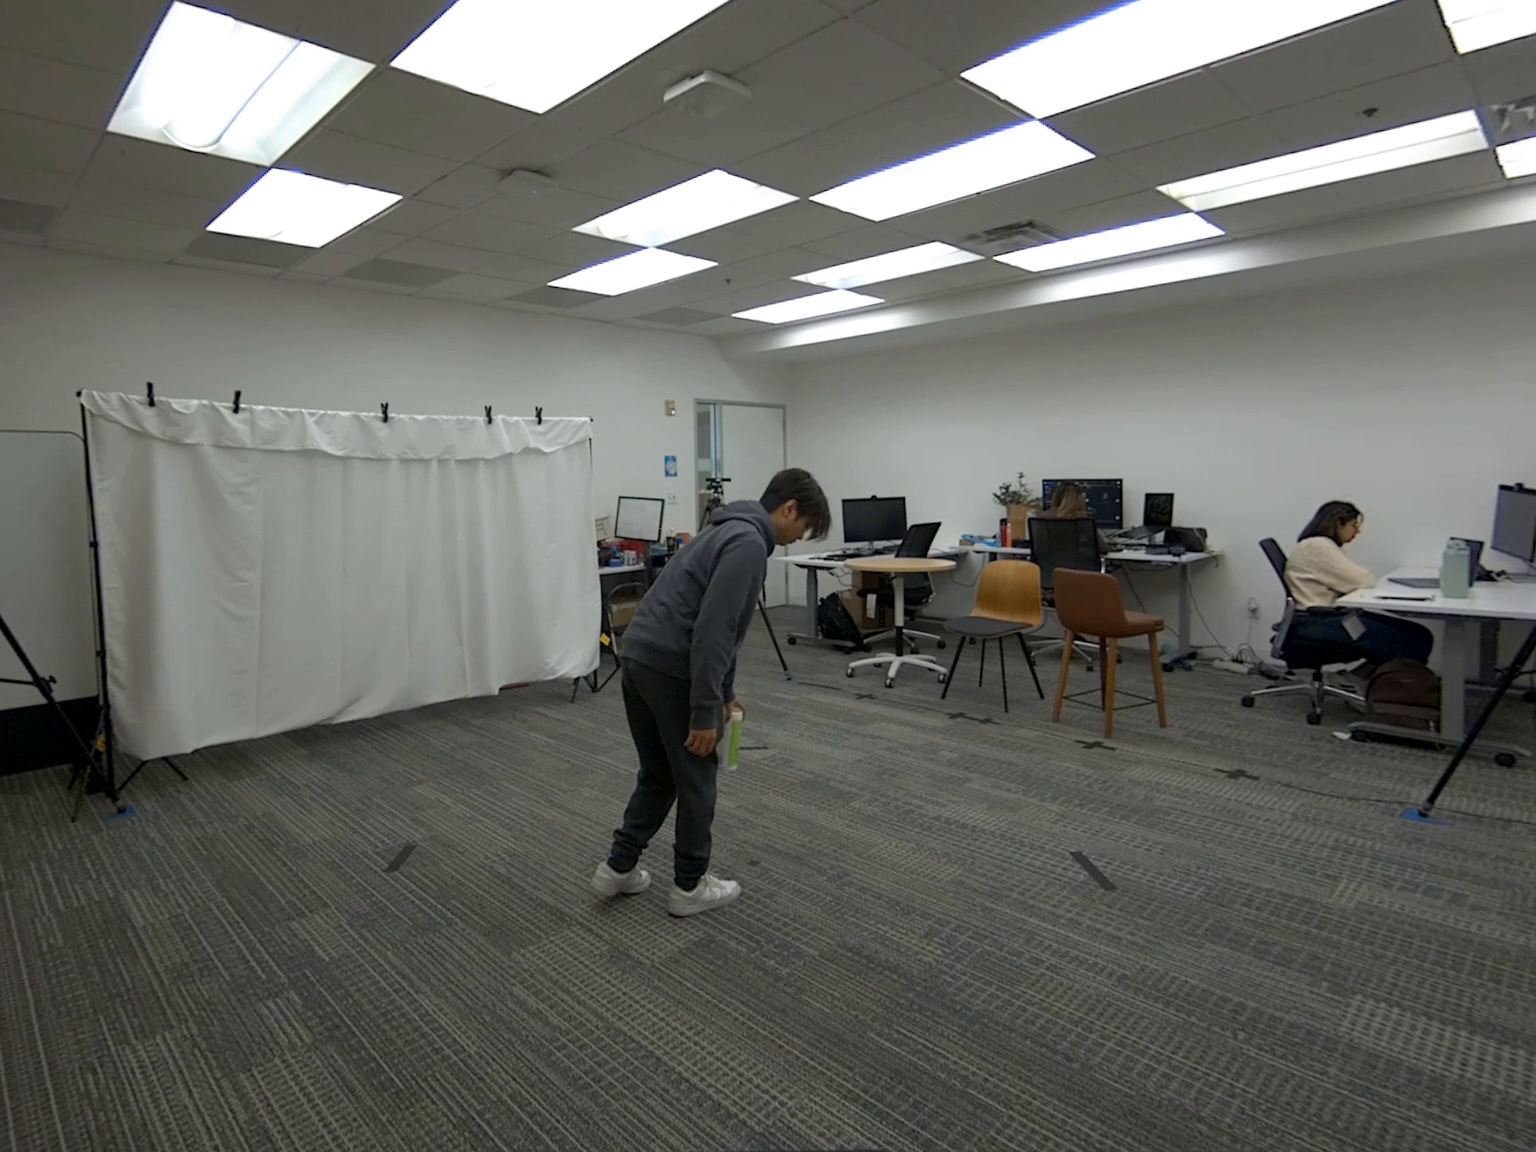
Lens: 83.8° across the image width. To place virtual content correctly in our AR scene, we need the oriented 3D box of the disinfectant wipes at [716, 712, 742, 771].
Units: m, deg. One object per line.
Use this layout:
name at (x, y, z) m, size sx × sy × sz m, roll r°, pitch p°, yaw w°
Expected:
disinfectant wipes at (-0.147, 0.593, 3.112) m, size 0.117 × 0.217 × 0.118 m, roll 4°, pitch 2°, yaw -2°
